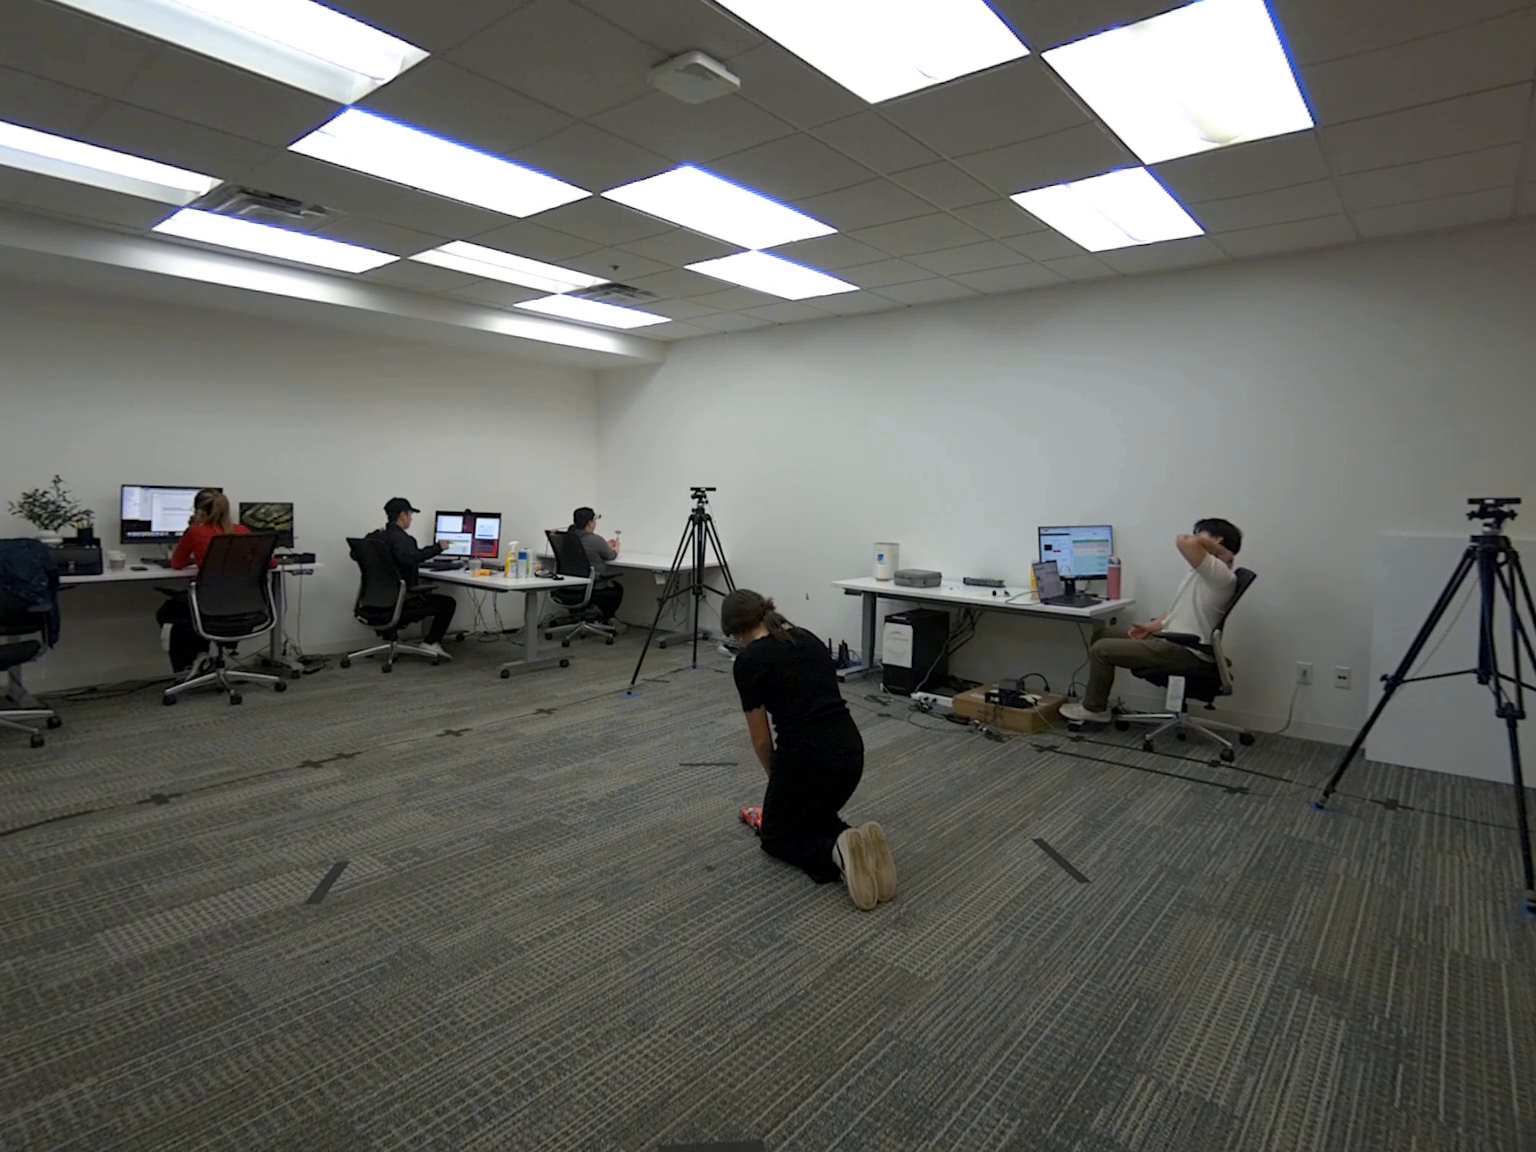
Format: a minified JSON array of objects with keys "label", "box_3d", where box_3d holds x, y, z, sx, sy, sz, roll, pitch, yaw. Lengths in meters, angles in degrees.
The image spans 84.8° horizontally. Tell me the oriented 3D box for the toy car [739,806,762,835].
[{"label":"toy car","box_3d":[-0.028,0.999,3.484,0.127,0.084,0.259,1,-5,-25]}]
